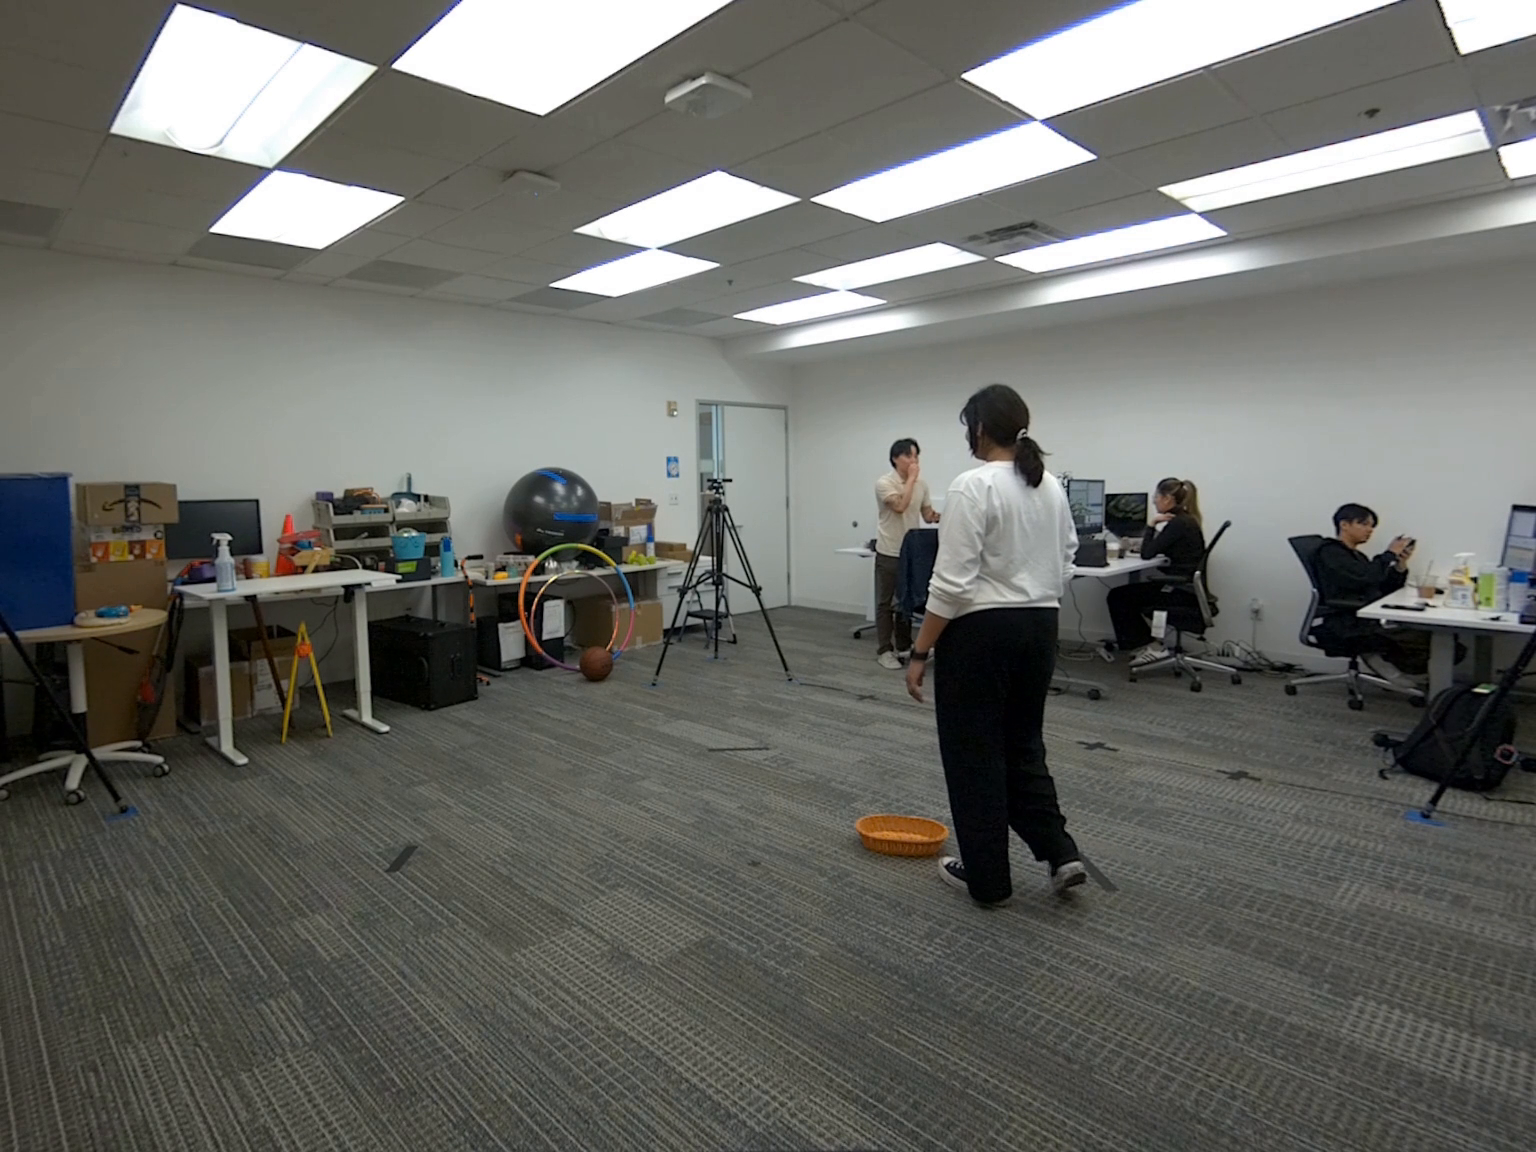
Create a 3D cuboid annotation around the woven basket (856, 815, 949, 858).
[{"bbox_3d":[0.501,0.982,3.237,0.356,0.073,0.249,1,5,18],"label":"woven basket"}]
